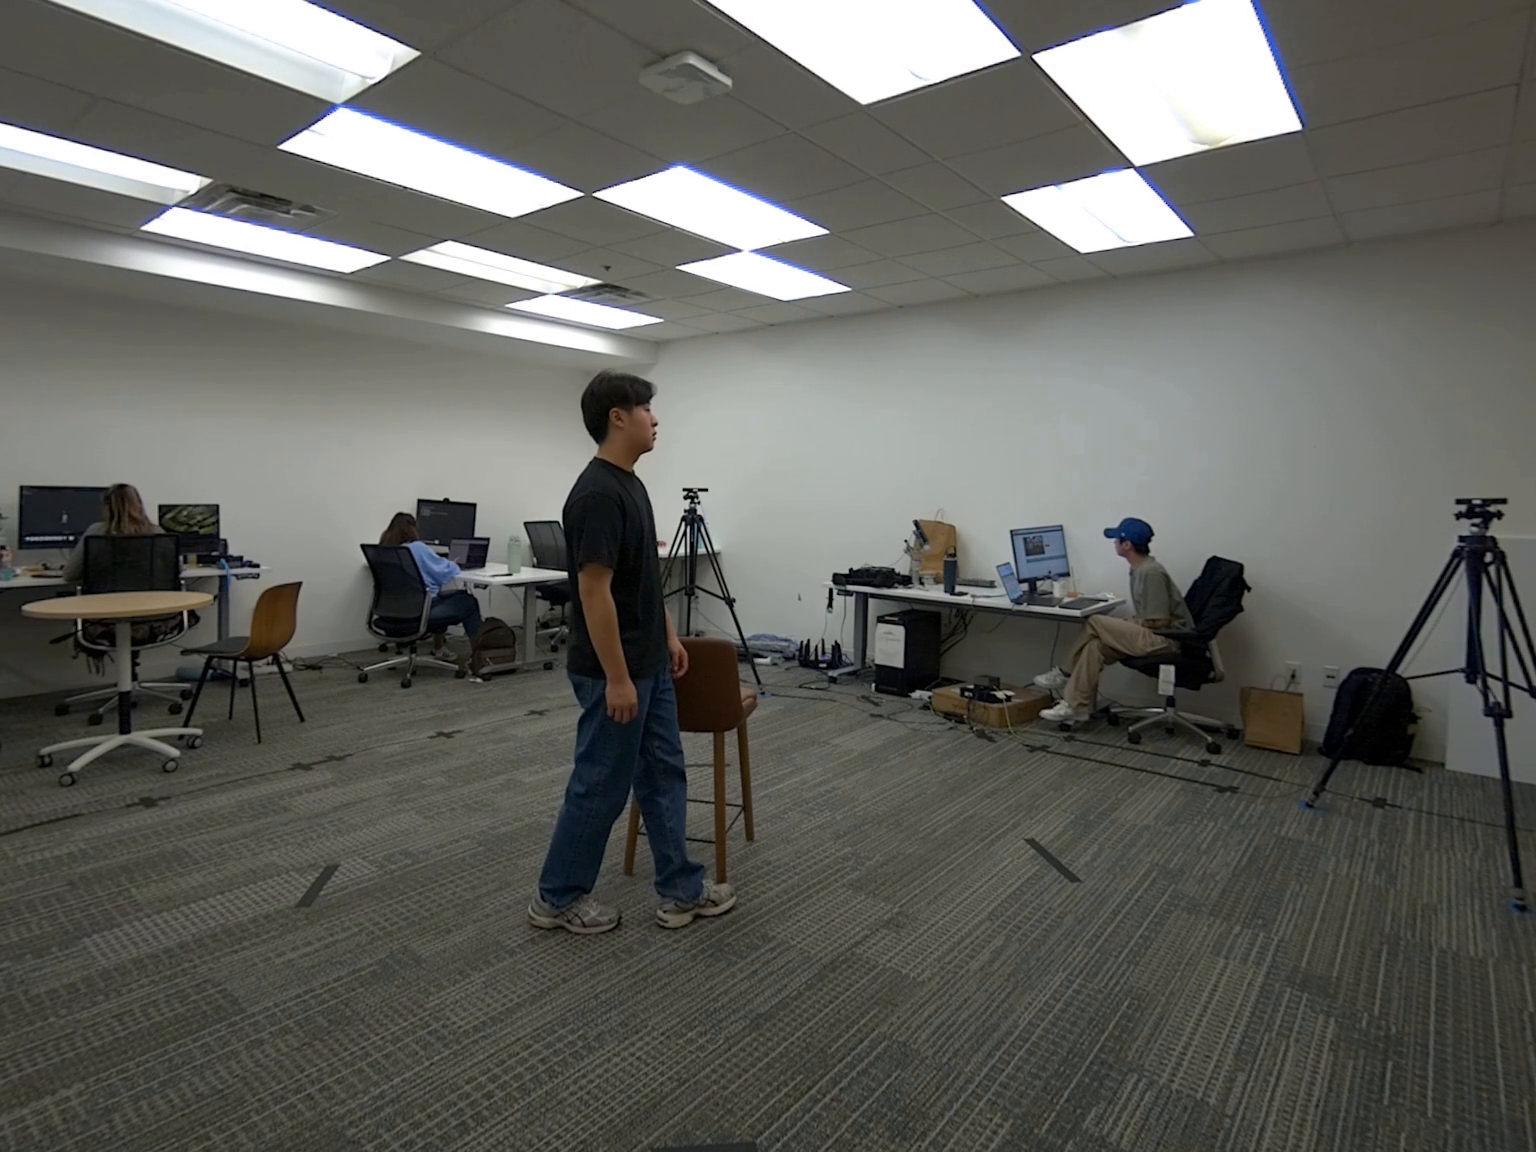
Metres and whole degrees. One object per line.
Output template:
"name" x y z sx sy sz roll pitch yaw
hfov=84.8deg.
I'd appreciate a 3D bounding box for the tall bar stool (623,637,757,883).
"tall bar stool" -0.299 0.624 3.196 0.464 0.886 0.462 2 5 14
